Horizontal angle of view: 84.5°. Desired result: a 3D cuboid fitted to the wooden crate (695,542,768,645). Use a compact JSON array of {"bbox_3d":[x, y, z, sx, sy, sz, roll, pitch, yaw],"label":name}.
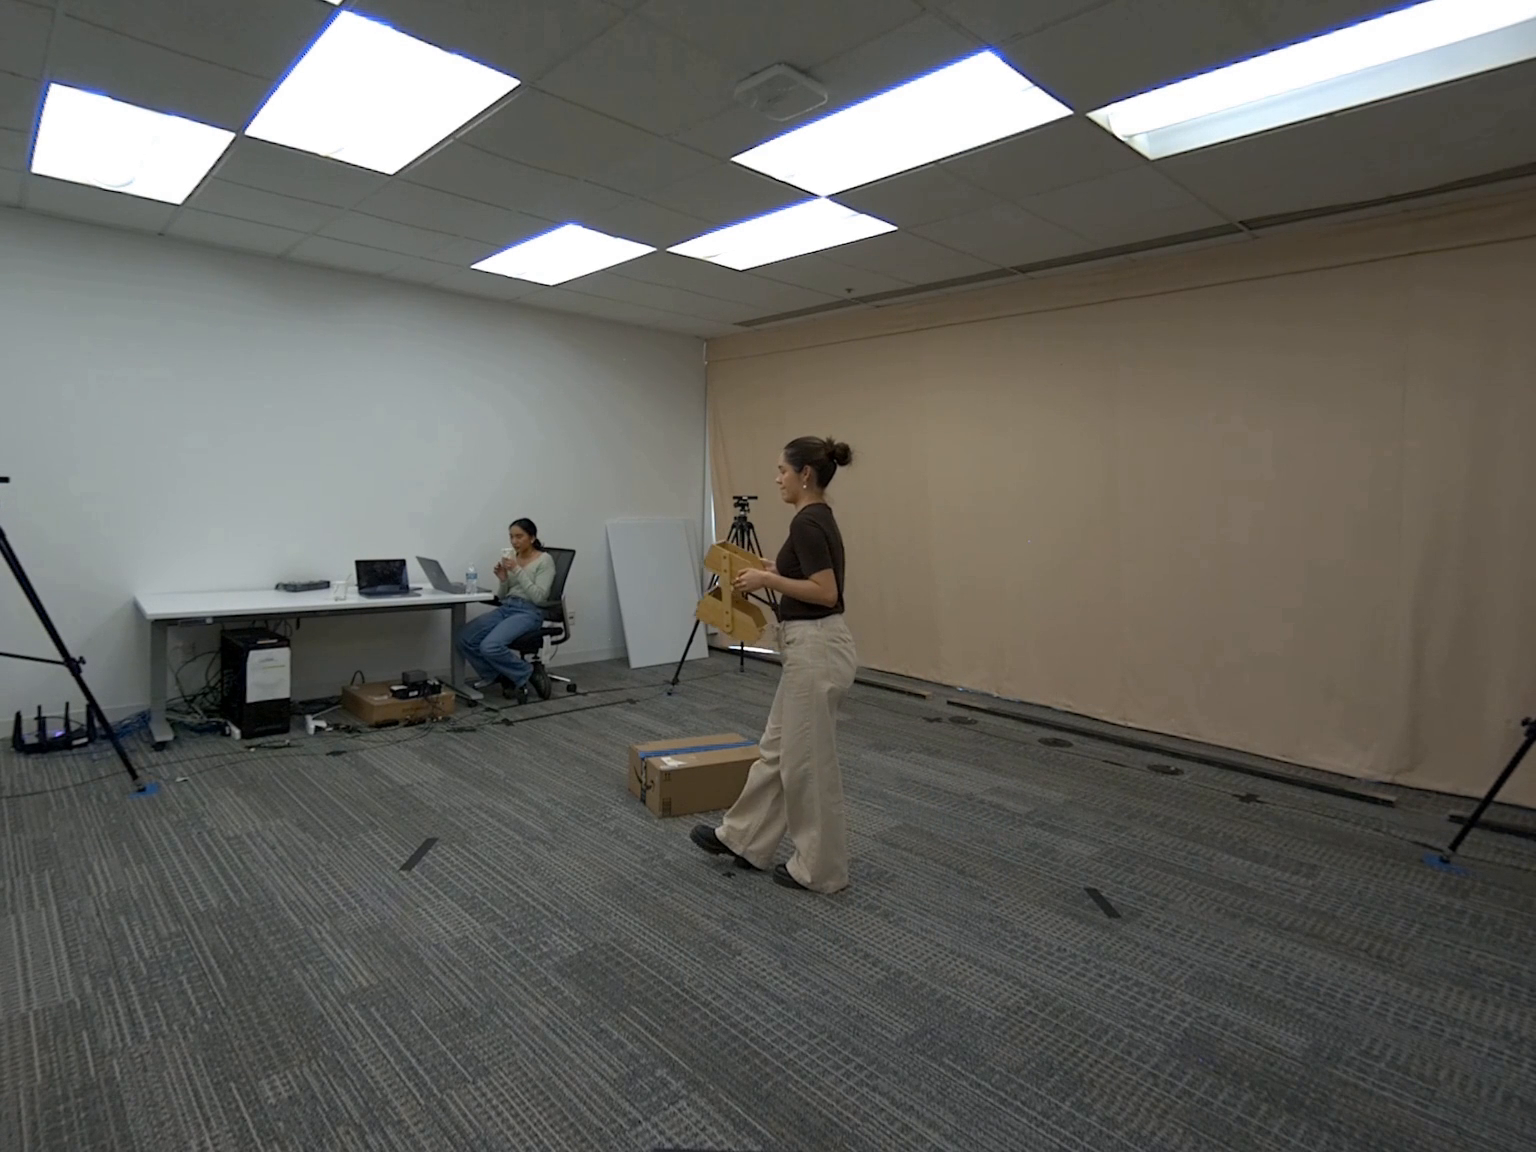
[{"bbox_3d":[-0.114,0.051,3.064,0.303,0.273,0.324,26,6,3],"label":"wooden crate"}]
